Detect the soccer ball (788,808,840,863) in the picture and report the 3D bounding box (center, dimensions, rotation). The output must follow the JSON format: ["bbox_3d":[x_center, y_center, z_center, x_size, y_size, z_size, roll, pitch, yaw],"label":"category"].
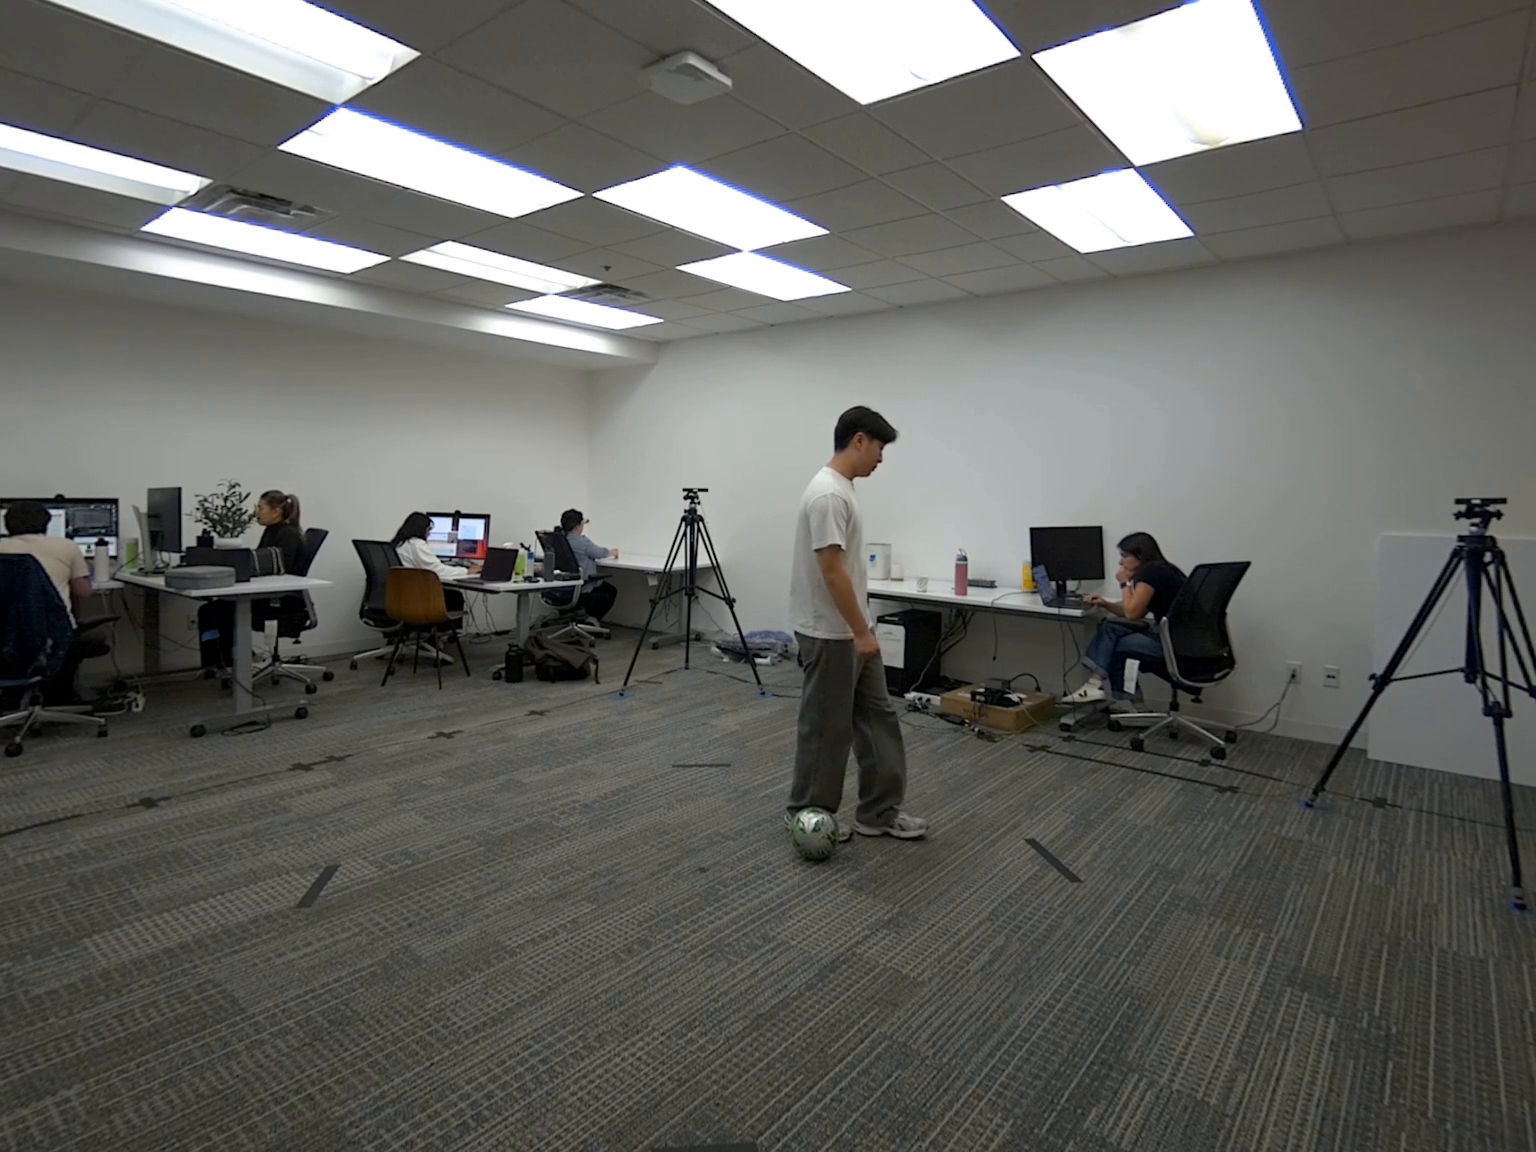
[{"bbox_3d":[0.182,0.968,3.237,0.187,0.187,0.188,1,4,-2],"label":"soccer ball"}]
